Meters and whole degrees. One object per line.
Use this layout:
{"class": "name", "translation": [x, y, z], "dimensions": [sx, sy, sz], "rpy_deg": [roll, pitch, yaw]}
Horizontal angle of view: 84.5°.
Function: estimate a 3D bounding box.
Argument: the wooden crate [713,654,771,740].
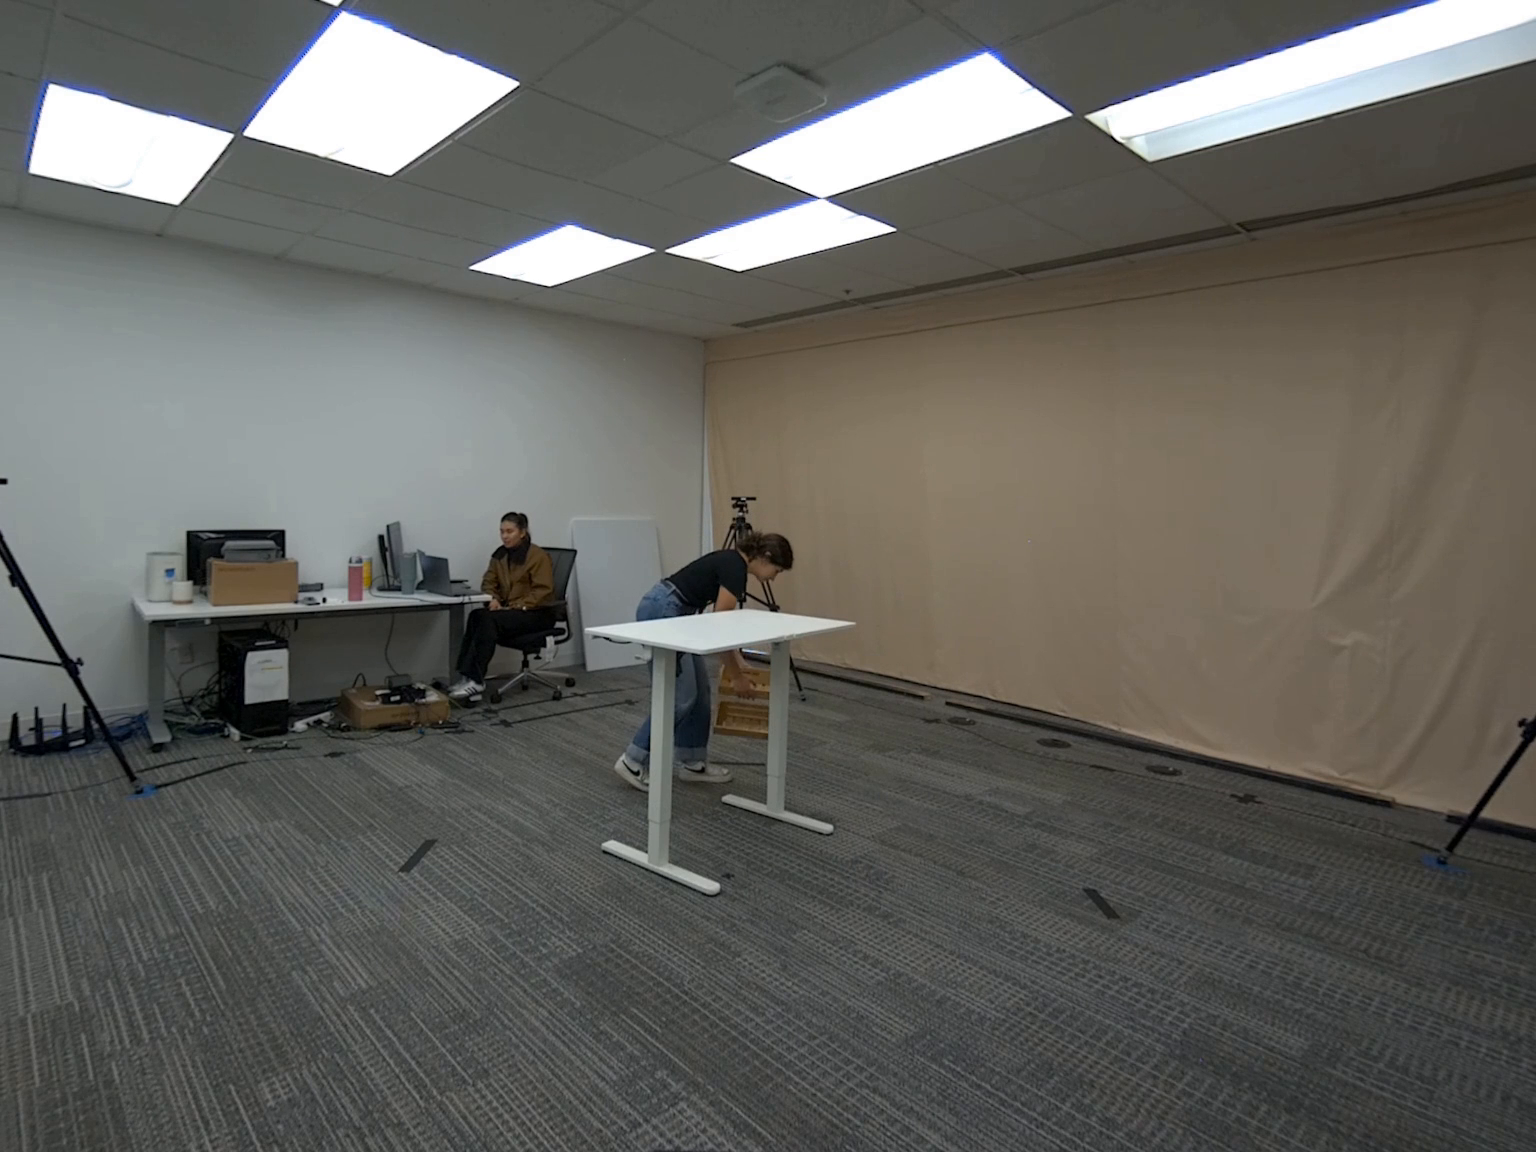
{"class": "wooden crate", "translation": [-0.105, 0.606, 4.069], "dimensions": [0.325, 0.271, 0.303], "rpy_deg": [6, 11, 2]}
